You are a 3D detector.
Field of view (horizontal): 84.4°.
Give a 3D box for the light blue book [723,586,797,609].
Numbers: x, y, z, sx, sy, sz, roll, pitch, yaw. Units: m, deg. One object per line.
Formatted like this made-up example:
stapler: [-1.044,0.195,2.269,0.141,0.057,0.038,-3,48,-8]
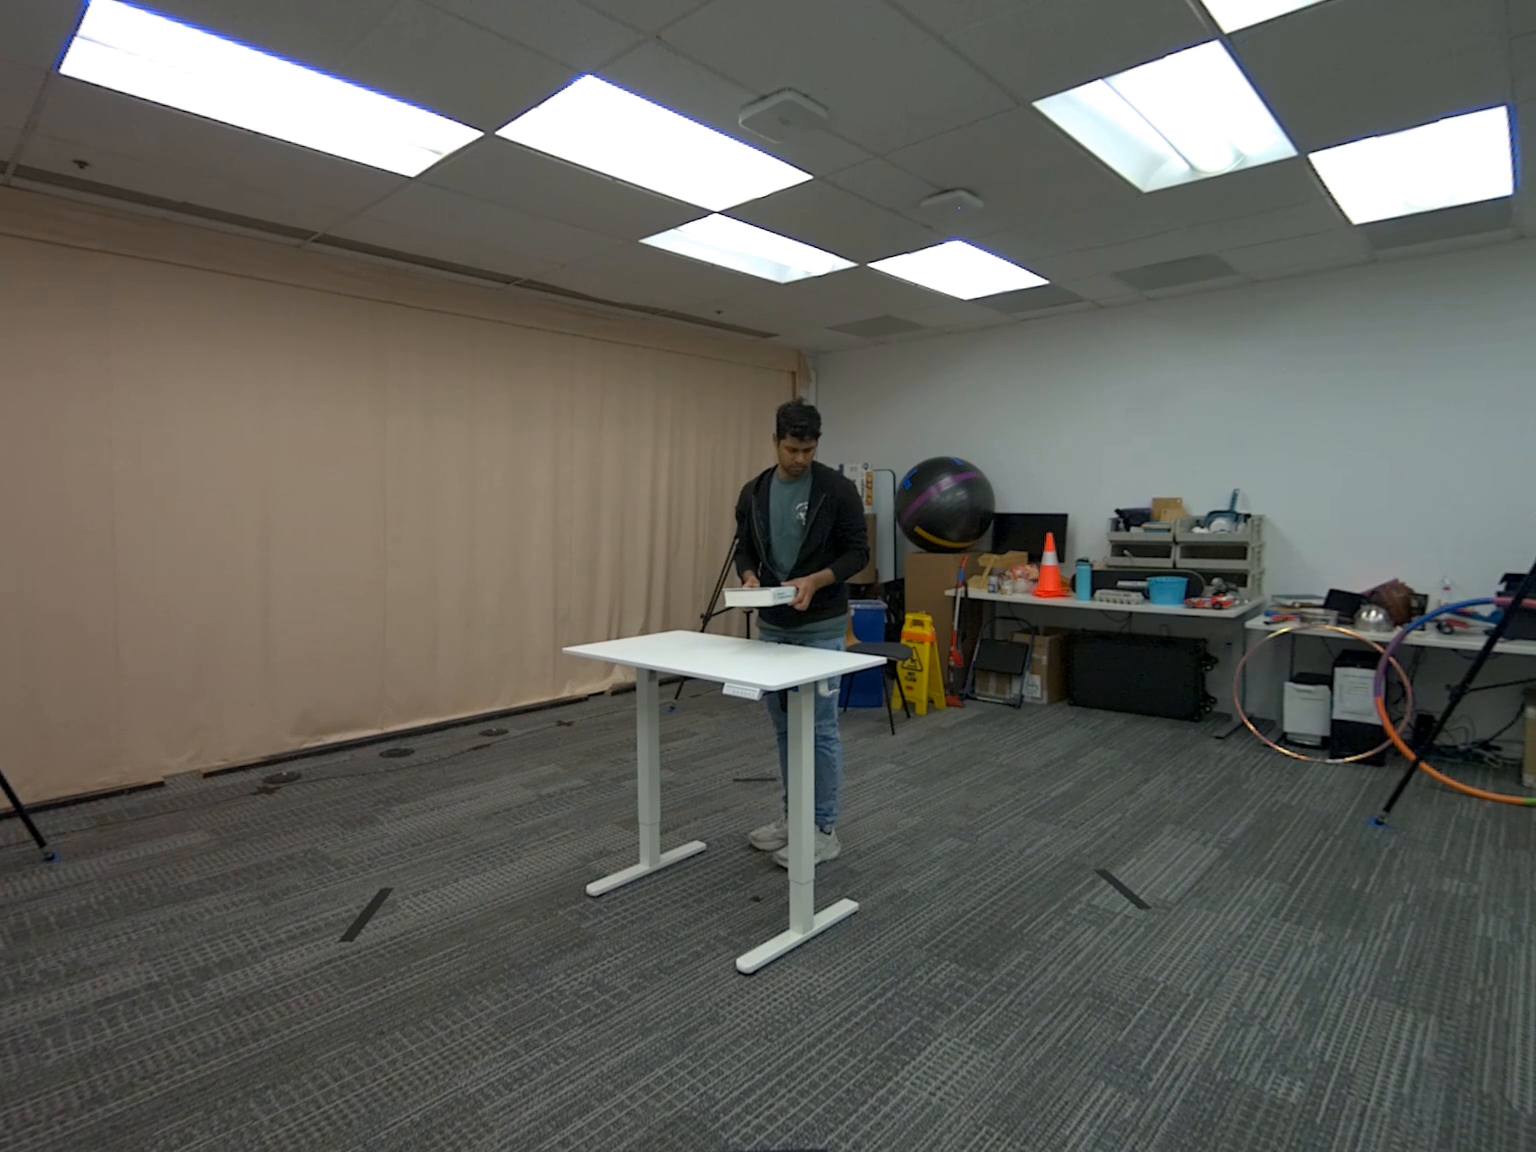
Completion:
light blue book: [-0.014,0.077,3.043,0.196,0.059,0.255,-2,2,23]
